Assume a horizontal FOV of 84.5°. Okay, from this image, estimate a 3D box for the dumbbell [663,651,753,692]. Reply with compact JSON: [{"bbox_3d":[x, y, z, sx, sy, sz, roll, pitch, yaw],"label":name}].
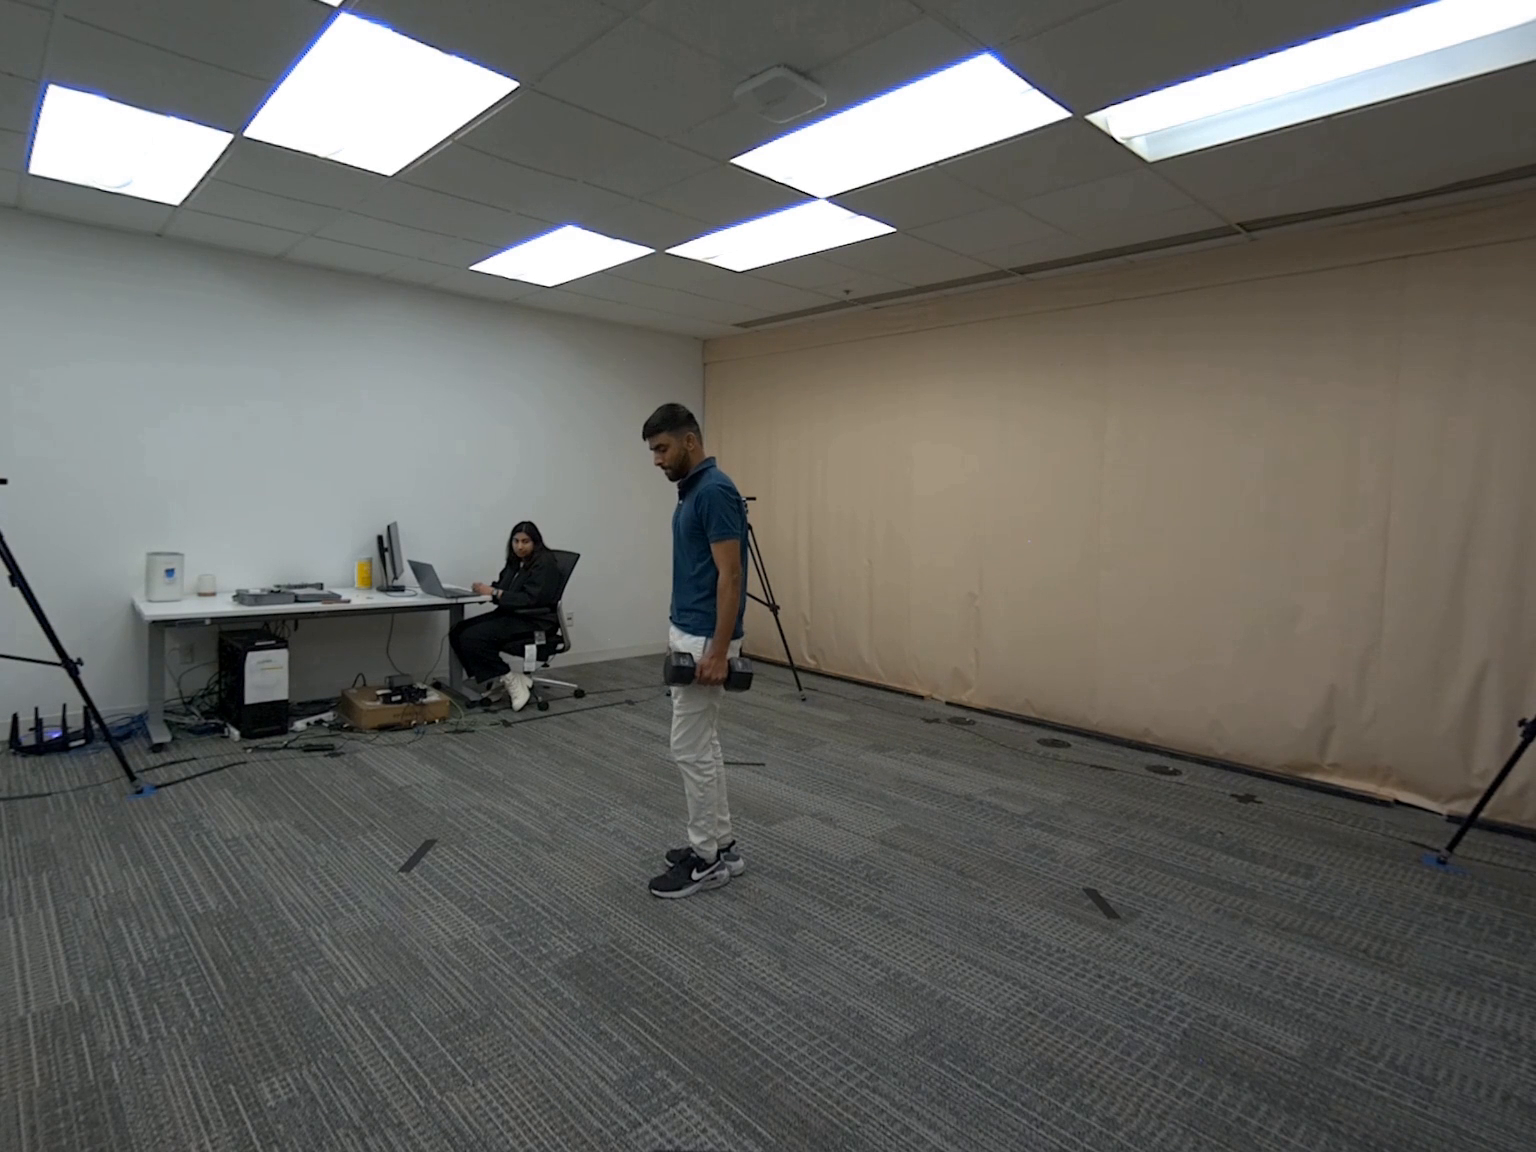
[{"bbox_3d":[-0.214,0.323,2.834,0.288,0.122,0.111,8,9,-22],"label":"dumbbell"}]
